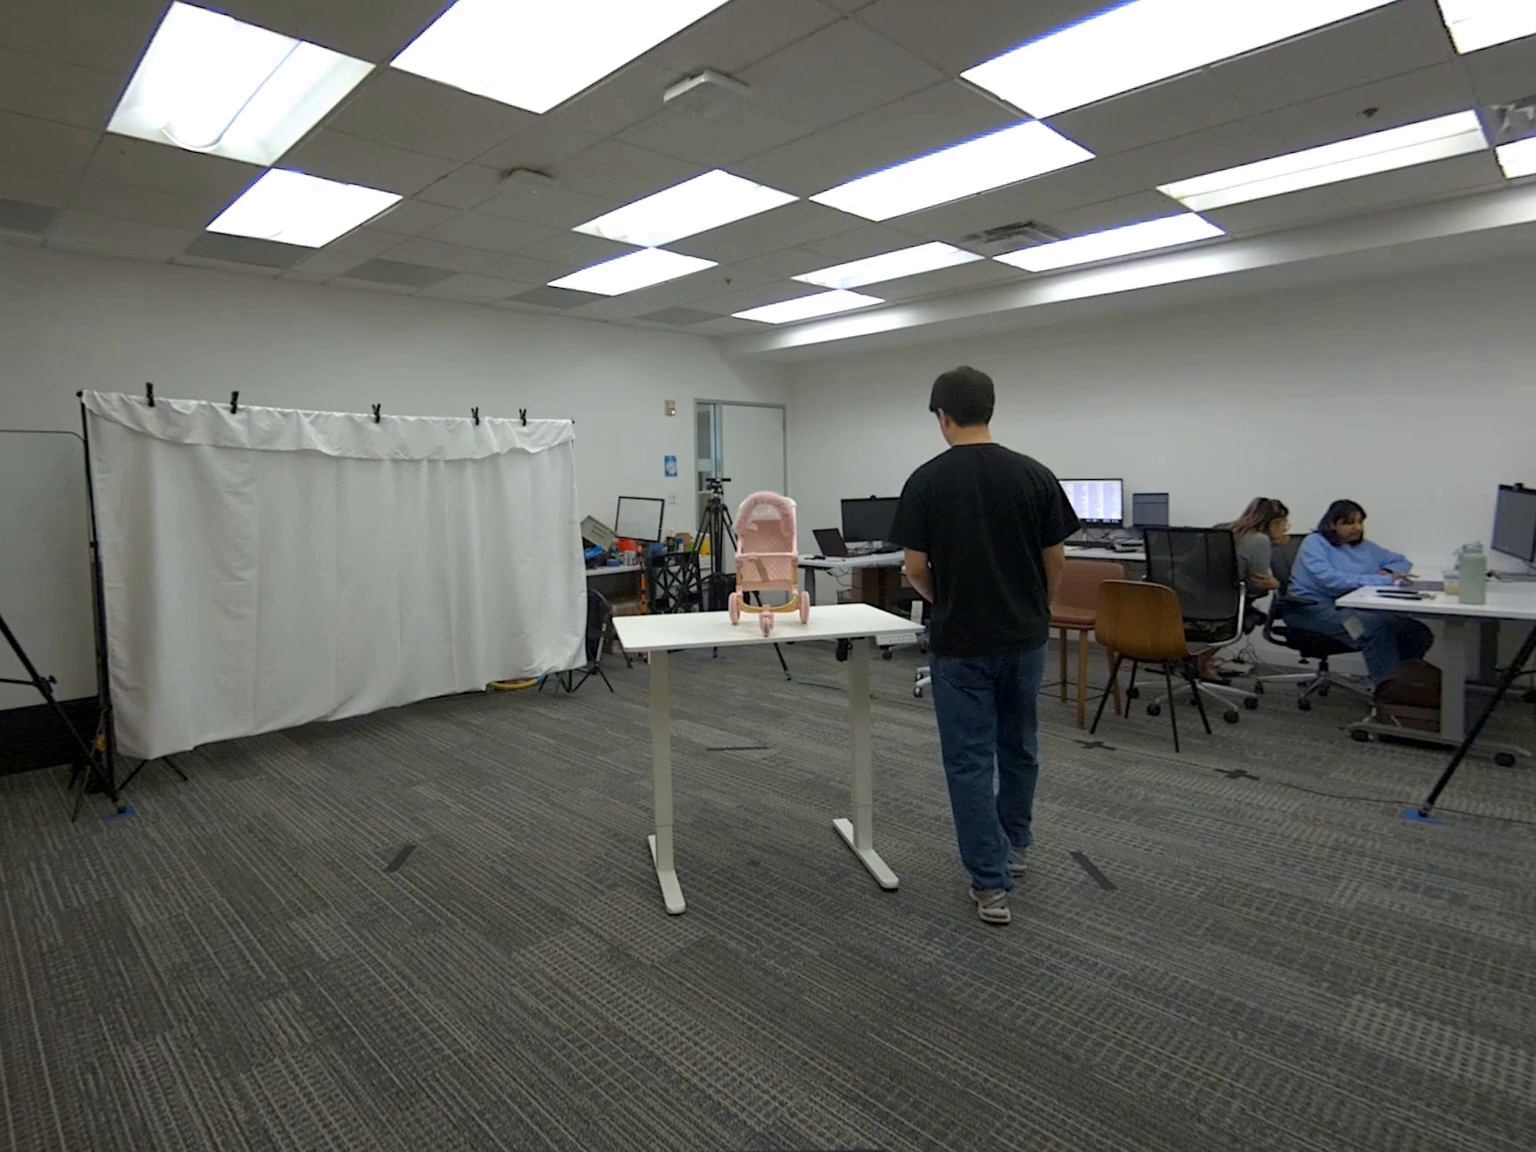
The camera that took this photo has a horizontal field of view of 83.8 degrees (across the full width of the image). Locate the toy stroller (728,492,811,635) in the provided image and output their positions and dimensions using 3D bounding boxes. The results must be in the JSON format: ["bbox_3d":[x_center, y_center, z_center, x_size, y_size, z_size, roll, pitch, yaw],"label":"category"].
[{"bbox_3d":[-0.006,-0.049,2.940,0.284,0.540,0.335,-2,-11,8],"label":"toy stroller"}]
